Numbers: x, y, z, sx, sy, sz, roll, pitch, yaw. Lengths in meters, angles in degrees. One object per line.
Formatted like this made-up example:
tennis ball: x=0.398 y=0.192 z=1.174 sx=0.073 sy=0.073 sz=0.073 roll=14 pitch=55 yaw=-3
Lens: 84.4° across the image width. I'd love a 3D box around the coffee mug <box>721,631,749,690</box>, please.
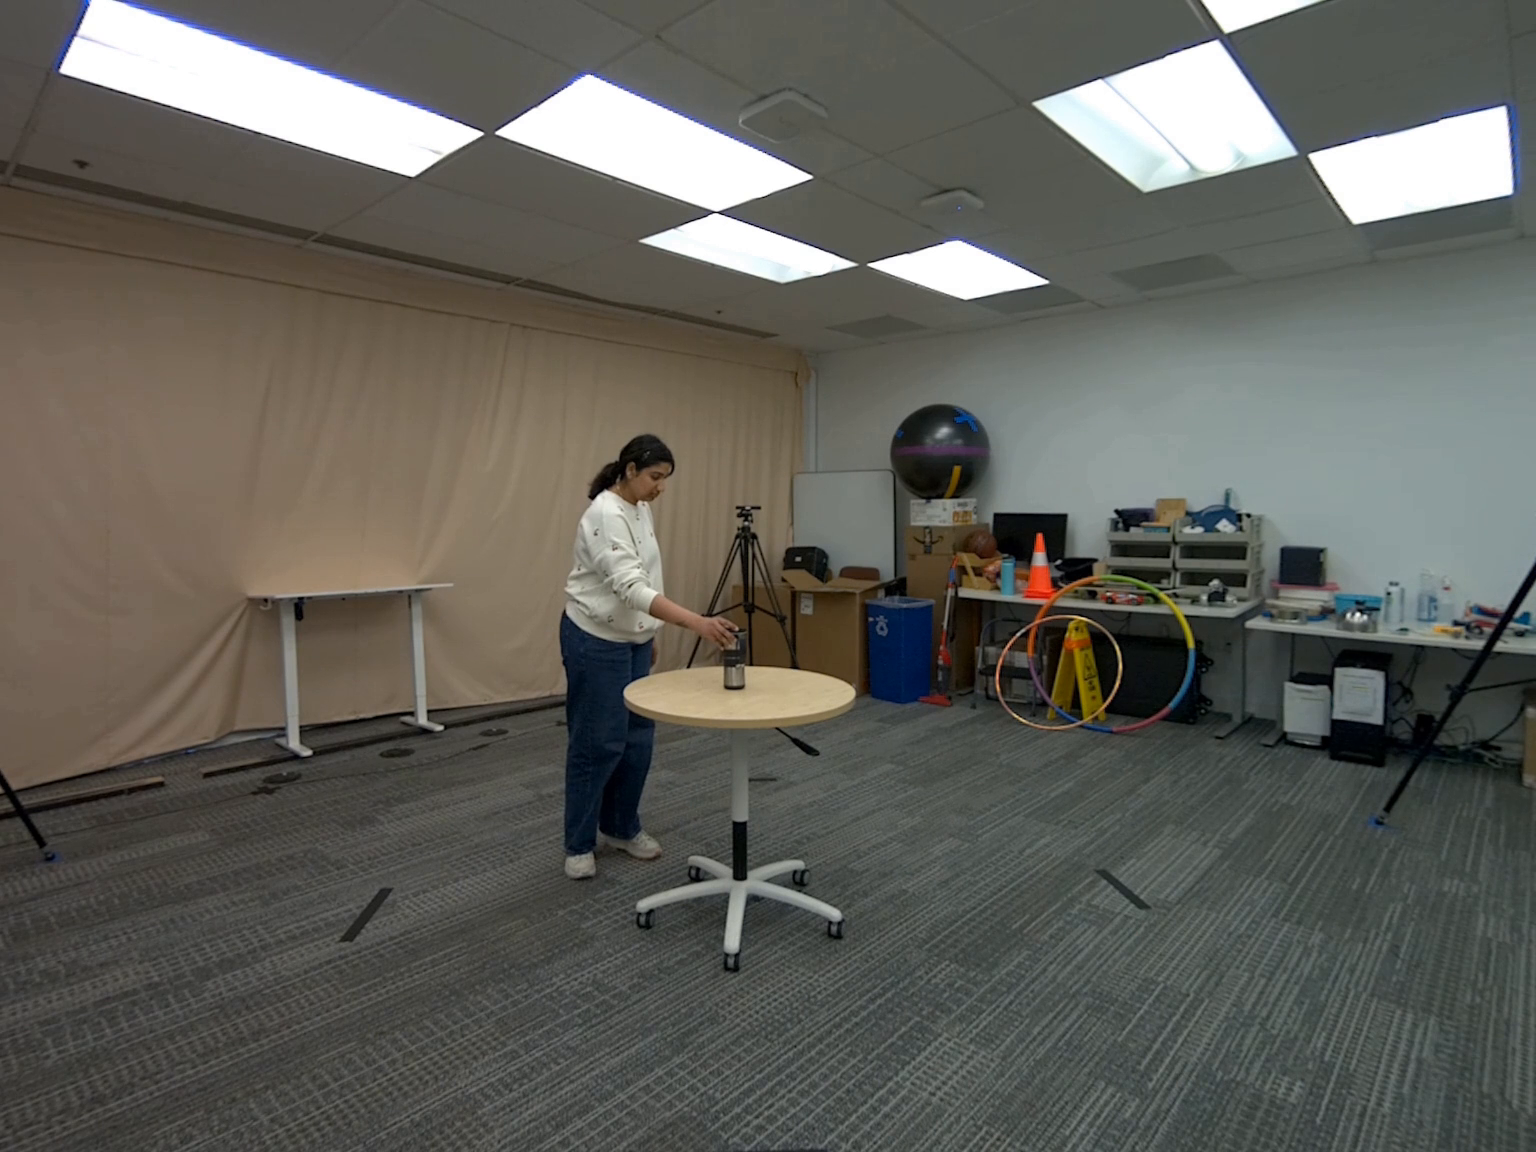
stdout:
coffee mug: x=-0.125 y=0.279 z=2.792 sx=0.091 sy=0.203 sz=0.118 roll=2 pitch=1 yaw=36
